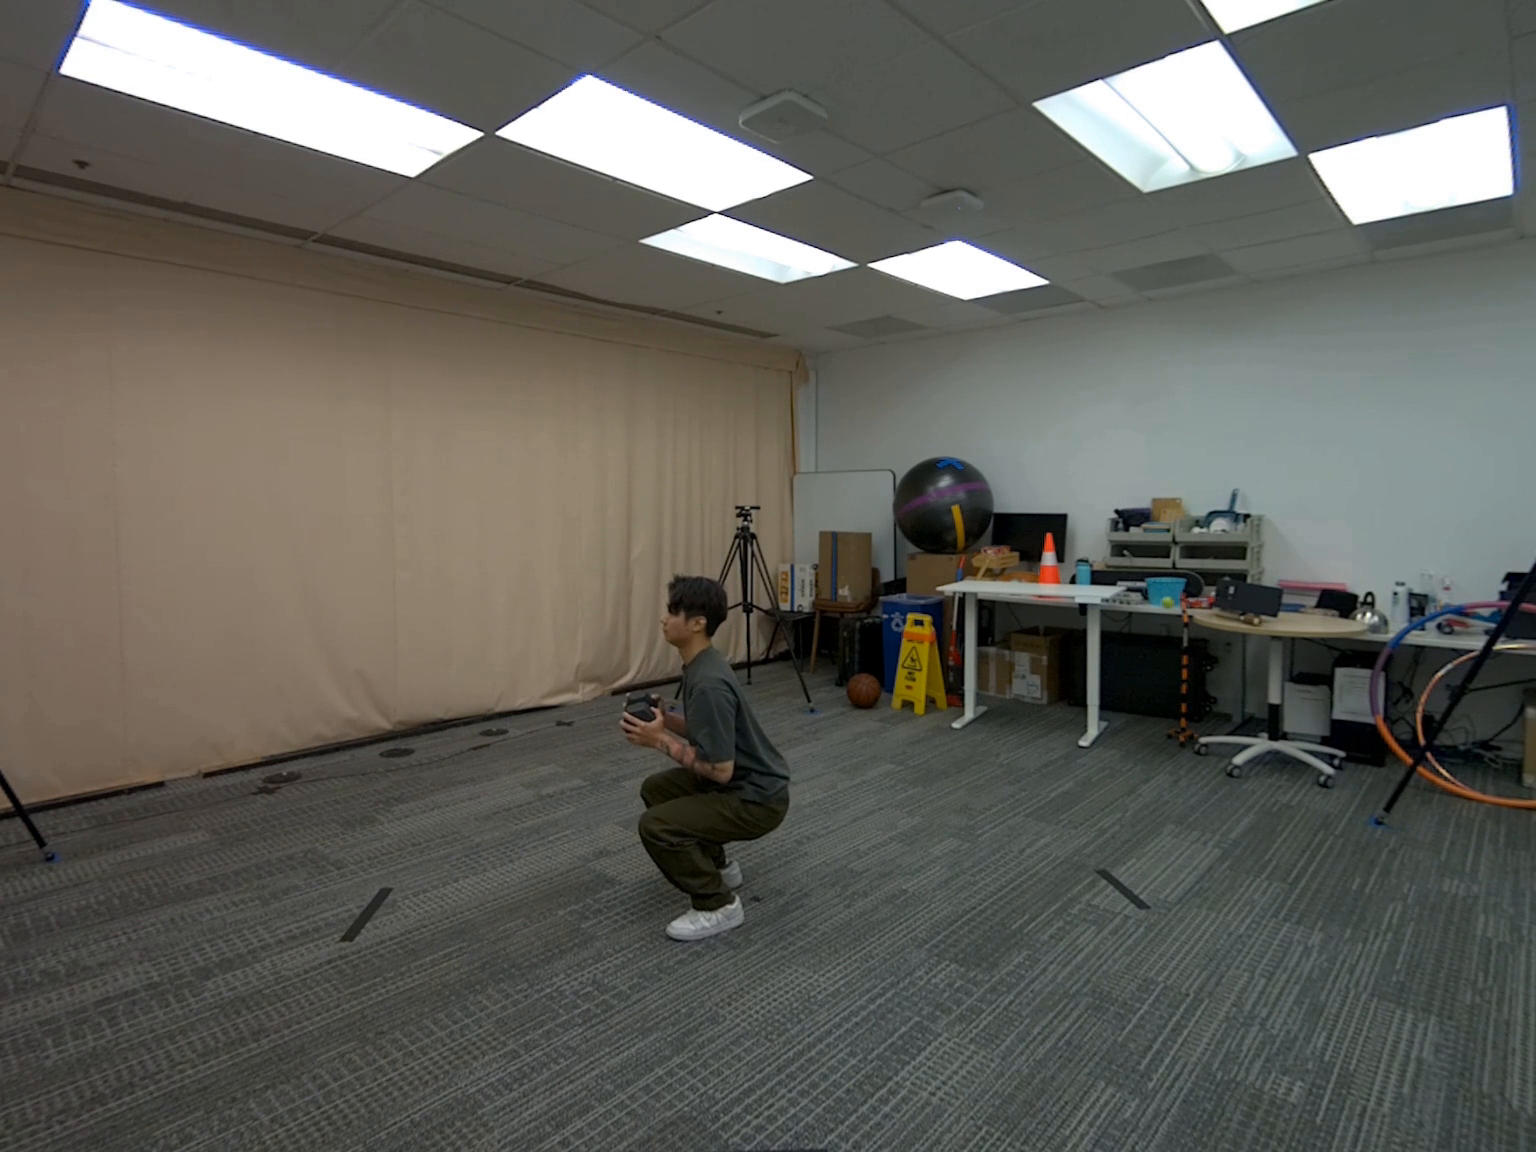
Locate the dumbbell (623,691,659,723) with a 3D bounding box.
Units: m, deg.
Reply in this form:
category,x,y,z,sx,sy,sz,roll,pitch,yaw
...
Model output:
category,x,y,z,sx,sy,sz,roll,pitch,yaw
dumbbell,-0.430,0.483,2.919,0.108,0.122,0.297,-42,10,-3
